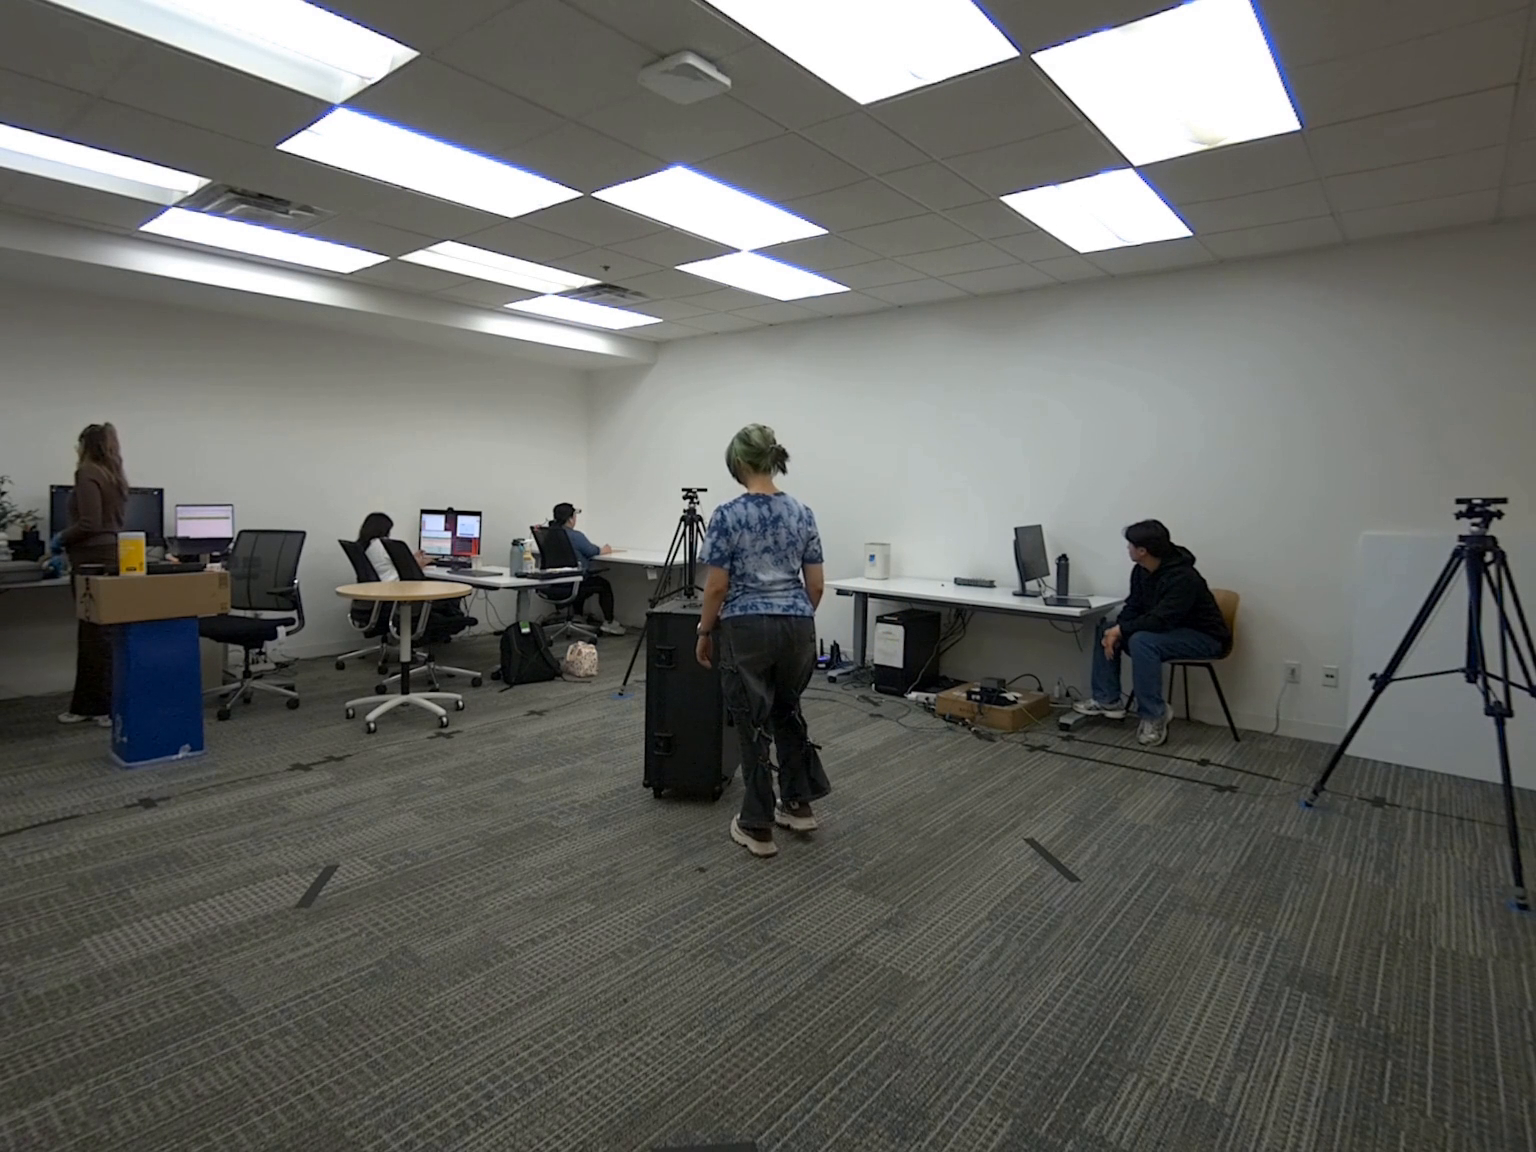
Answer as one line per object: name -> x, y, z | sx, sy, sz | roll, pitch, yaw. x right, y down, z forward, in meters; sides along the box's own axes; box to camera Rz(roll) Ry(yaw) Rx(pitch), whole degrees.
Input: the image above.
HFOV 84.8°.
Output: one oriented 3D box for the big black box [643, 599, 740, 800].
big black box -> -0.333, 0.560, 3.942 | 0.402, 0.859, 0.516 | 2, 3, 11
